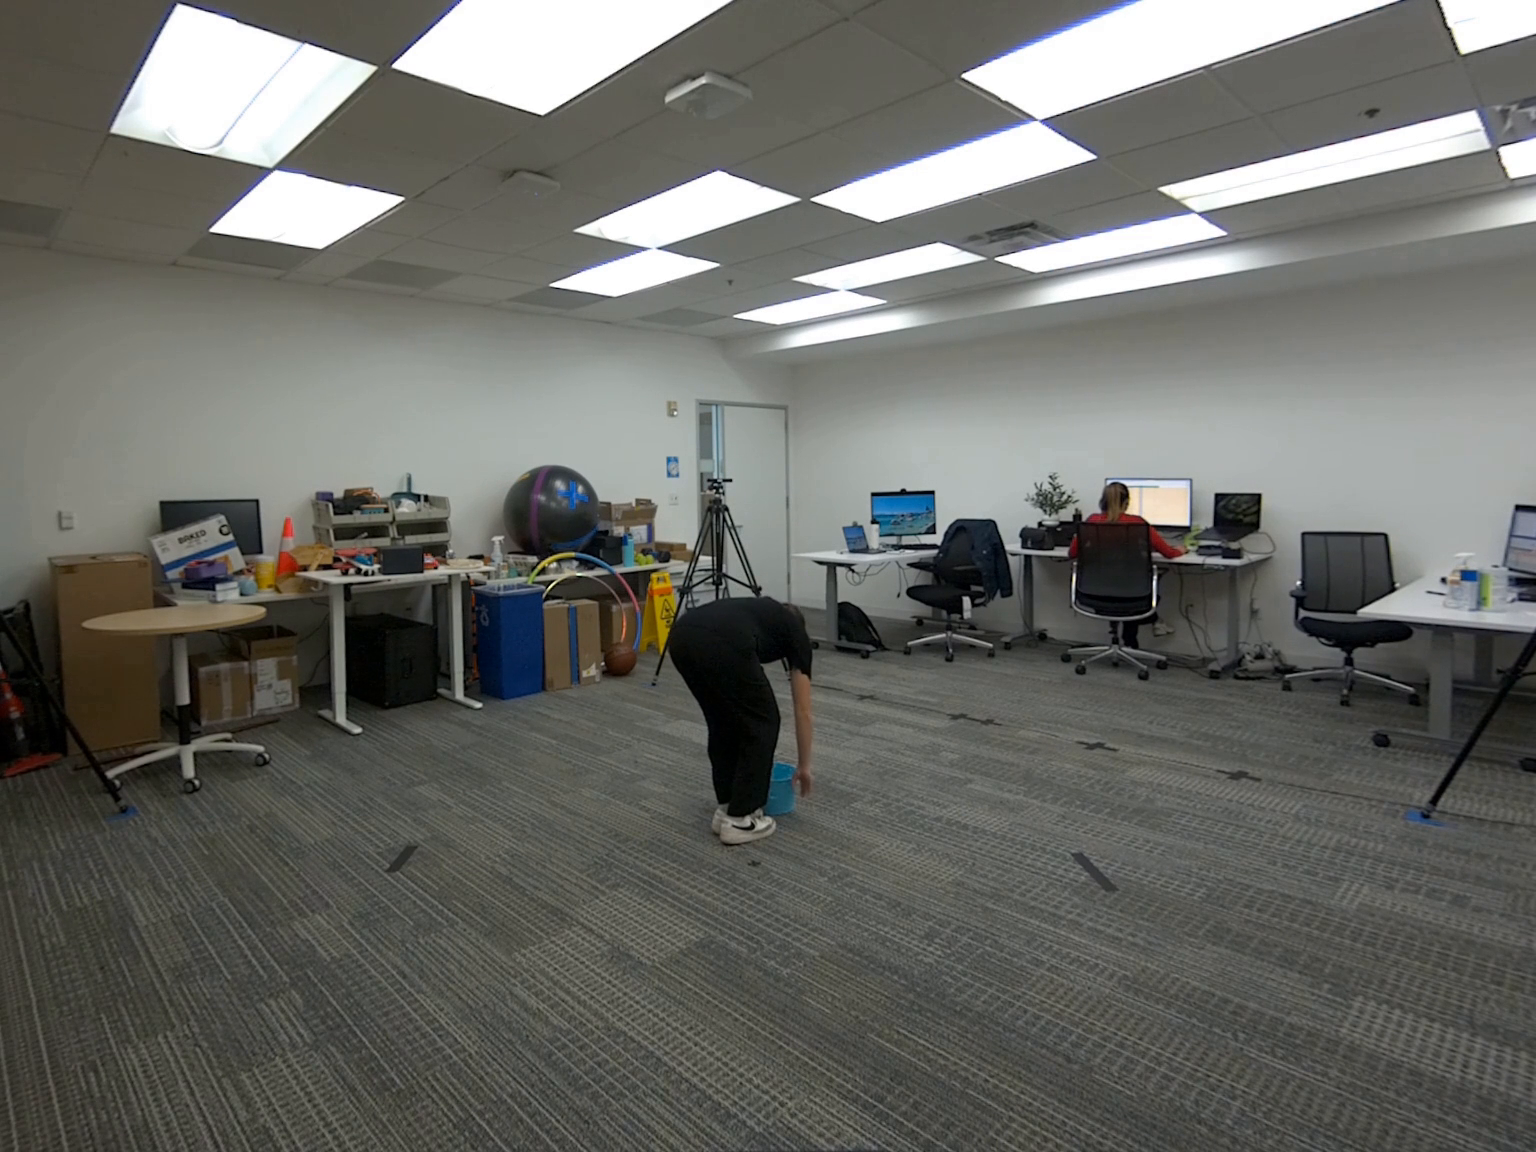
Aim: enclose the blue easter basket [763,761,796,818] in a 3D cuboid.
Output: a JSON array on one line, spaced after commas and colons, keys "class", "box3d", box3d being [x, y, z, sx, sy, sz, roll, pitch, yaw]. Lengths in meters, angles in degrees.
[{"class": "blue easter basket", "box3d": [0.019, 0.905, 3.651, 0.243, 0.155, 0.245, -1, 5, -2]}]
